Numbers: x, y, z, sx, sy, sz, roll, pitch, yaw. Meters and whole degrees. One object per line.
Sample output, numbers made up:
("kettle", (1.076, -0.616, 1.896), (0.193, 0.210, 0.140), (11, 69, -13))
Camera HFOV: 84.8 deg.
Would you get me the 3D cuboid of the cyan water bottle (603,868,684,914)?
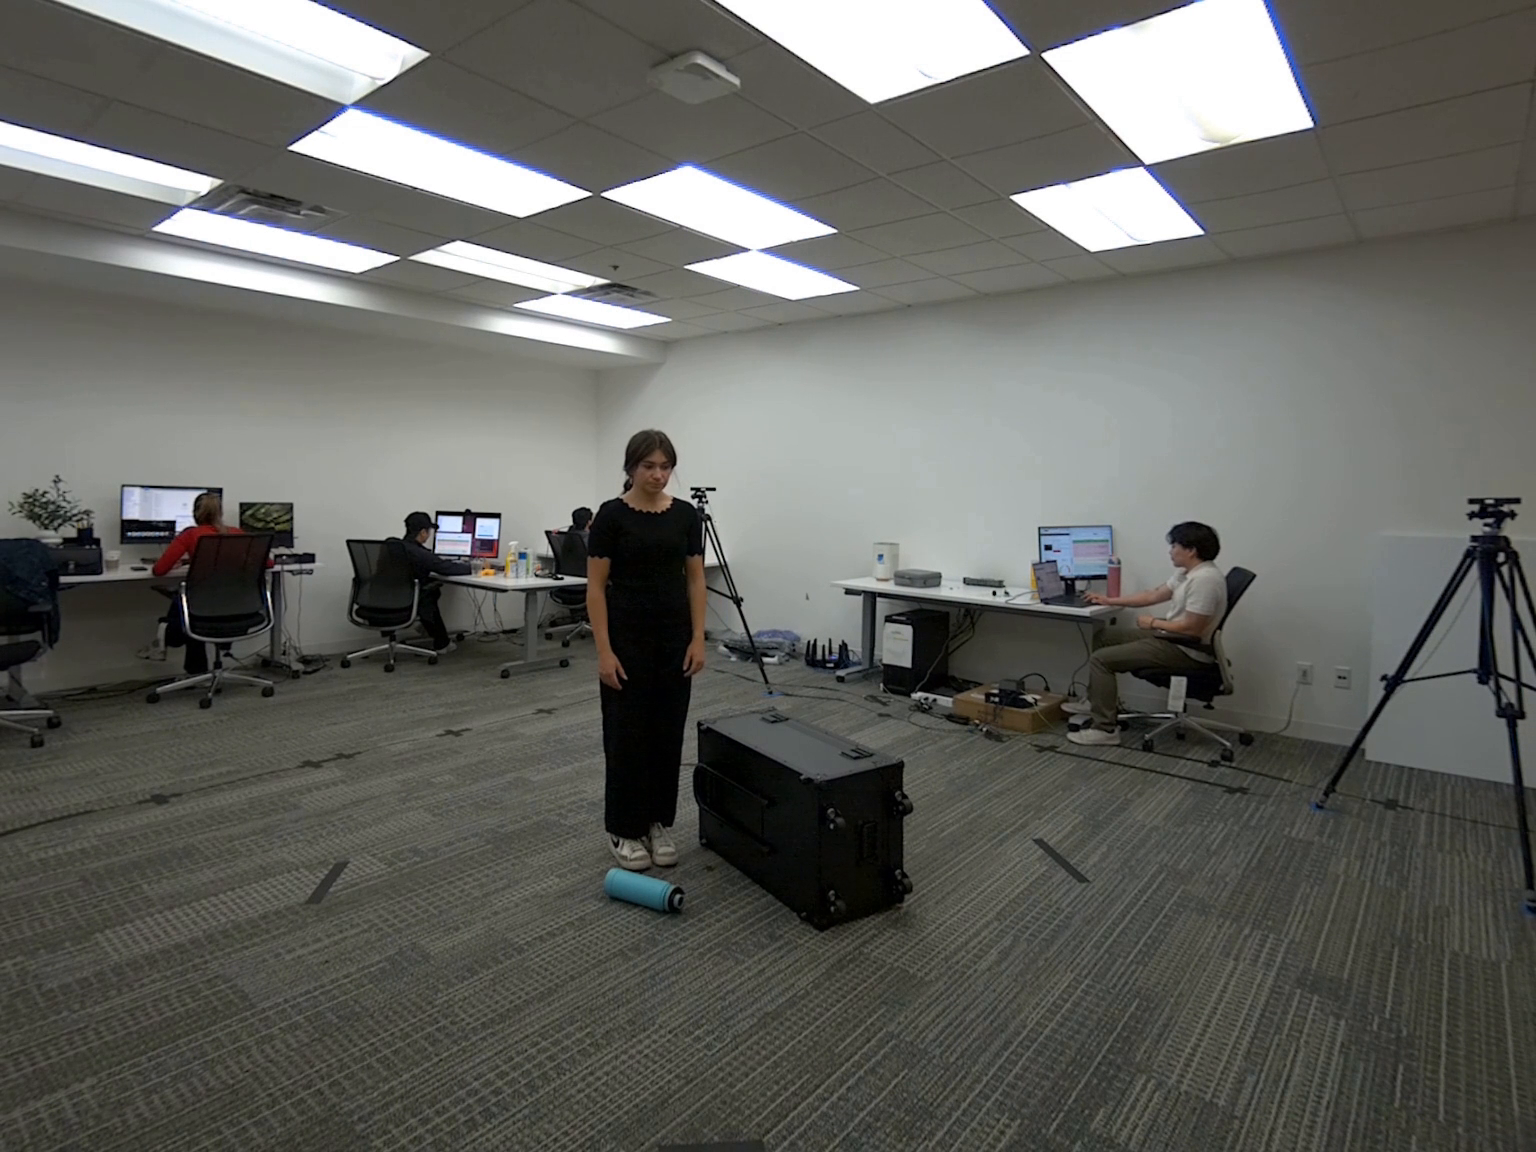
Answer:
("cyan water bottle", (-0.418, 1.036, 2.842), (0.290, 0.092, 0.090), (2, 4, 25))
